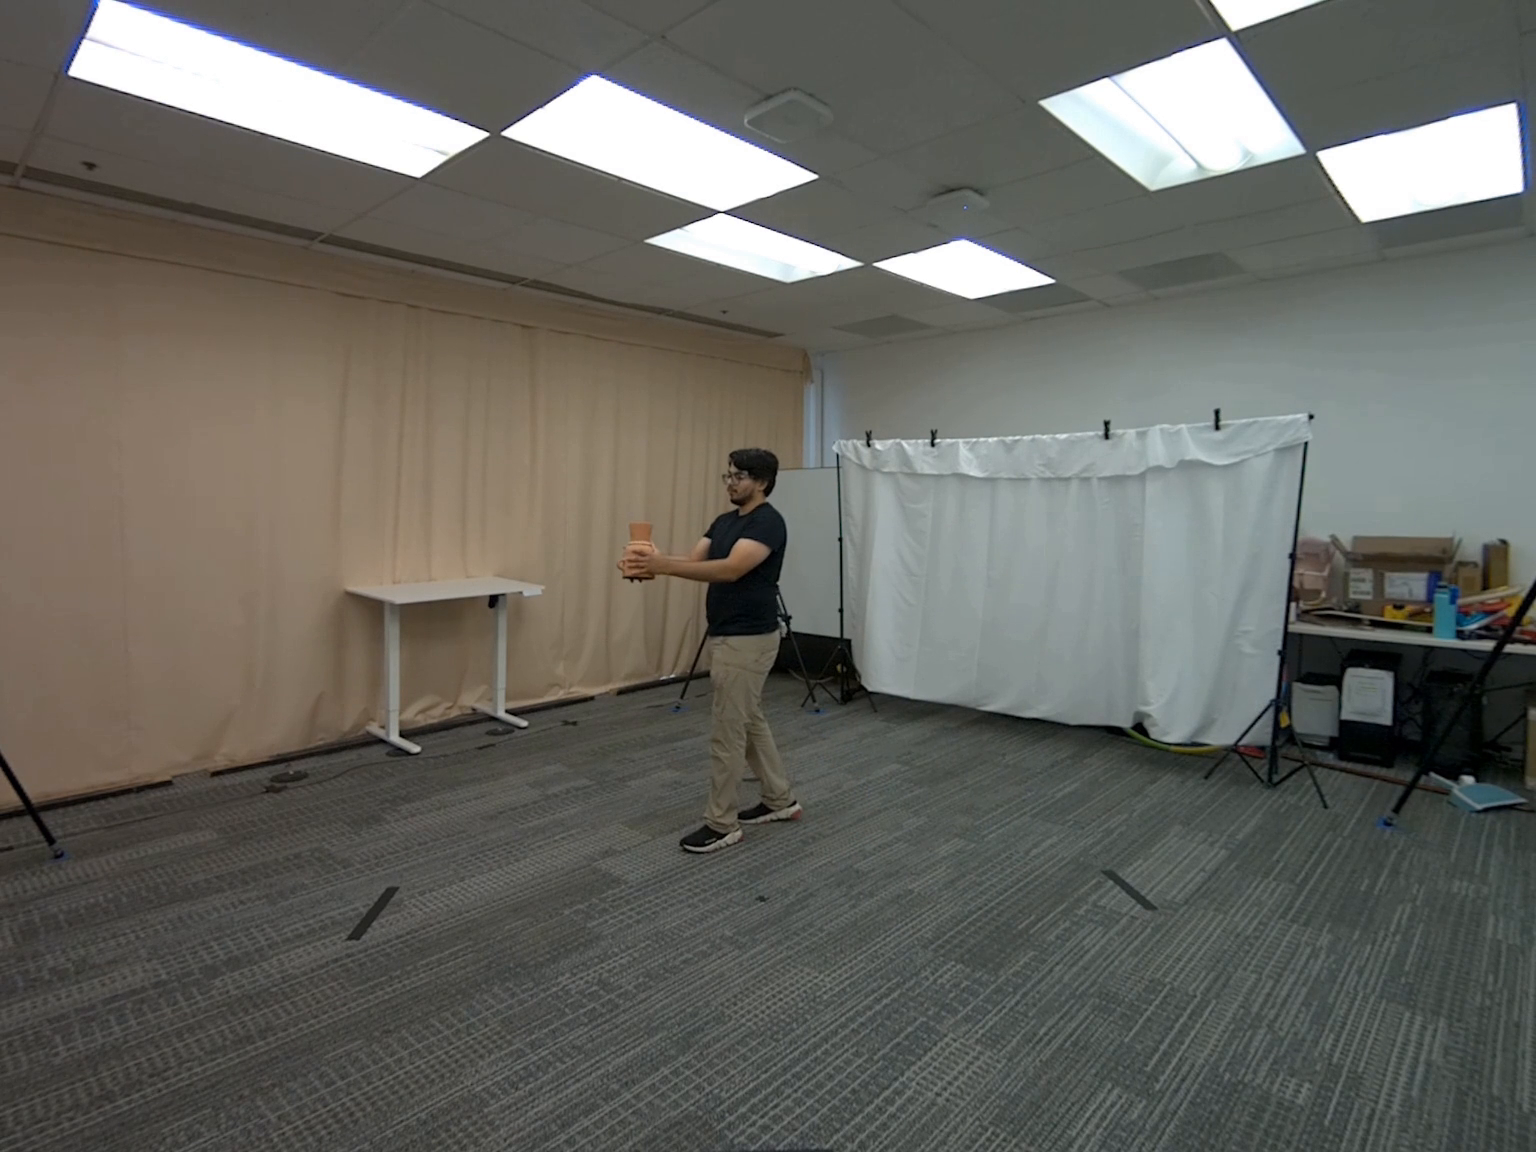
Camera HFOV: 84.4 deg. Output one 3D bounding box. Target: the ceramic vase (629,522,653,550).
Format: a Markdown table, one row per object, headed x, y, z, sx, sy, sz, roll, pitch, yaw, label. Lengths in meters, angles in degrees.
| x | y | z | sx | sy | sz | roll | pitch | yaw | label |
| --- | --- | --- | --- | --- | --- | --- | --- | --- | --- |
| -0.513 | -0.101 | 3.394 | 0.137 | 0.221 | 0.155 | -2 | -8 | 16 | ceramic vase |
